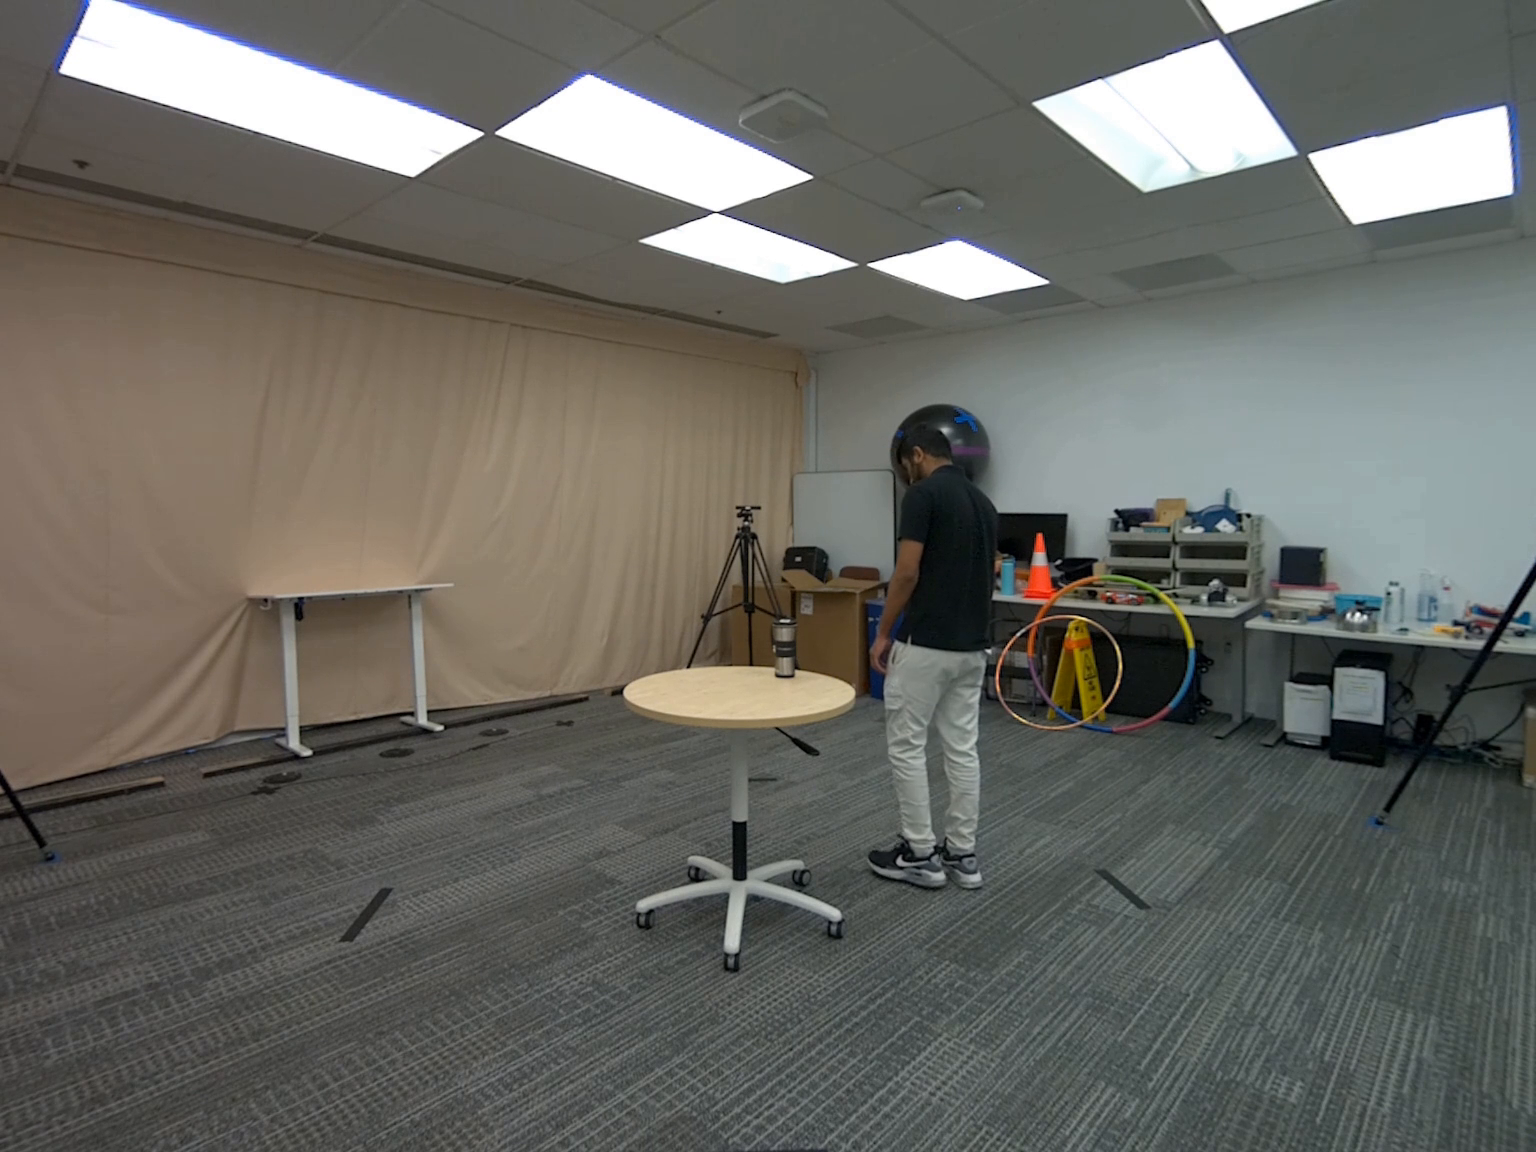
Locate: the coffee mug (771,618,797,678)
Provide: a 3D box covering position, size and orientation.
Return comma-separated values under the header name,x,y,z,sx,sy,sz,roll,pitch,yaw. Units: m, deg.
name,x,y,z,sx,sy,sz,roll,pitch,yaw
coffee mug,0.067,0.257,3.014,0.087,0.202,0.124,-3,7,-10
